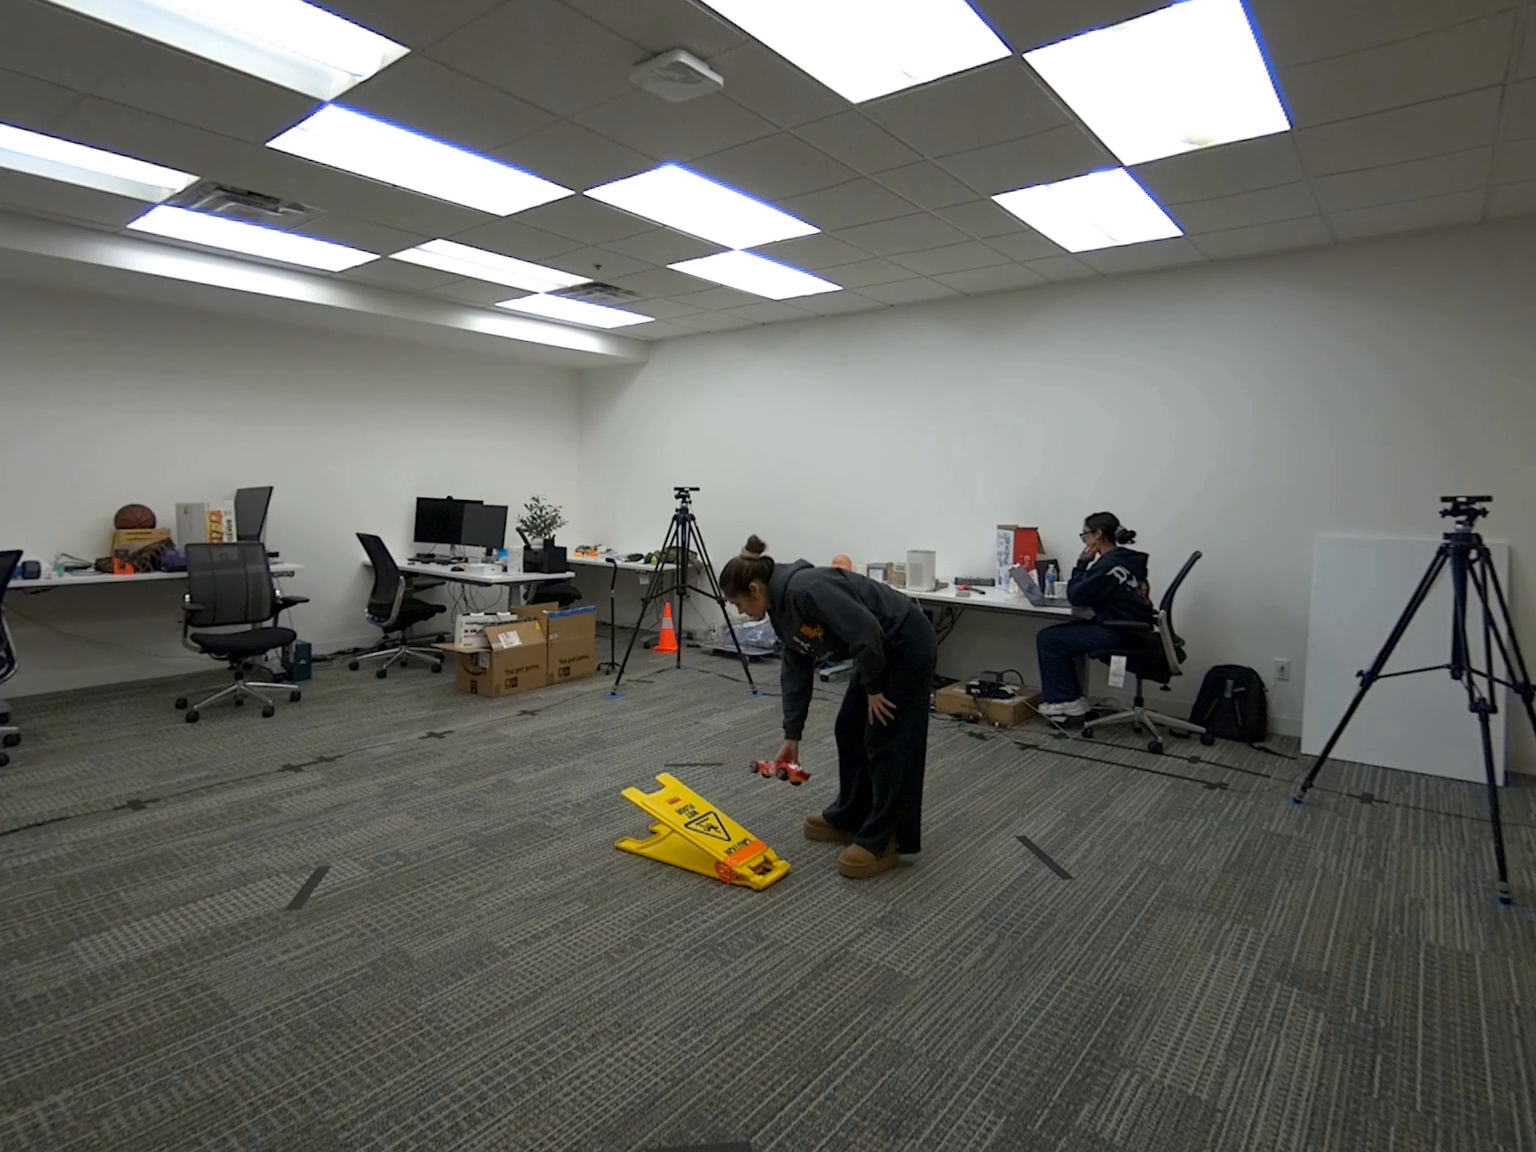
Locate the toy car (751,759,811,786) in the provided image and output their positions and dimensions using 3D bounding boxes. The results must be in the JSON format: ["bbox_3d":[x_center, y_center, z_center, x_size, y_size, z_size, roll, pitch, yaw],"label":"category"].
[{"bbox_3d":[0.045,0.765,3.310,0.261,0.085,0.125,-11,-30,37],"label":"toy car"}]
